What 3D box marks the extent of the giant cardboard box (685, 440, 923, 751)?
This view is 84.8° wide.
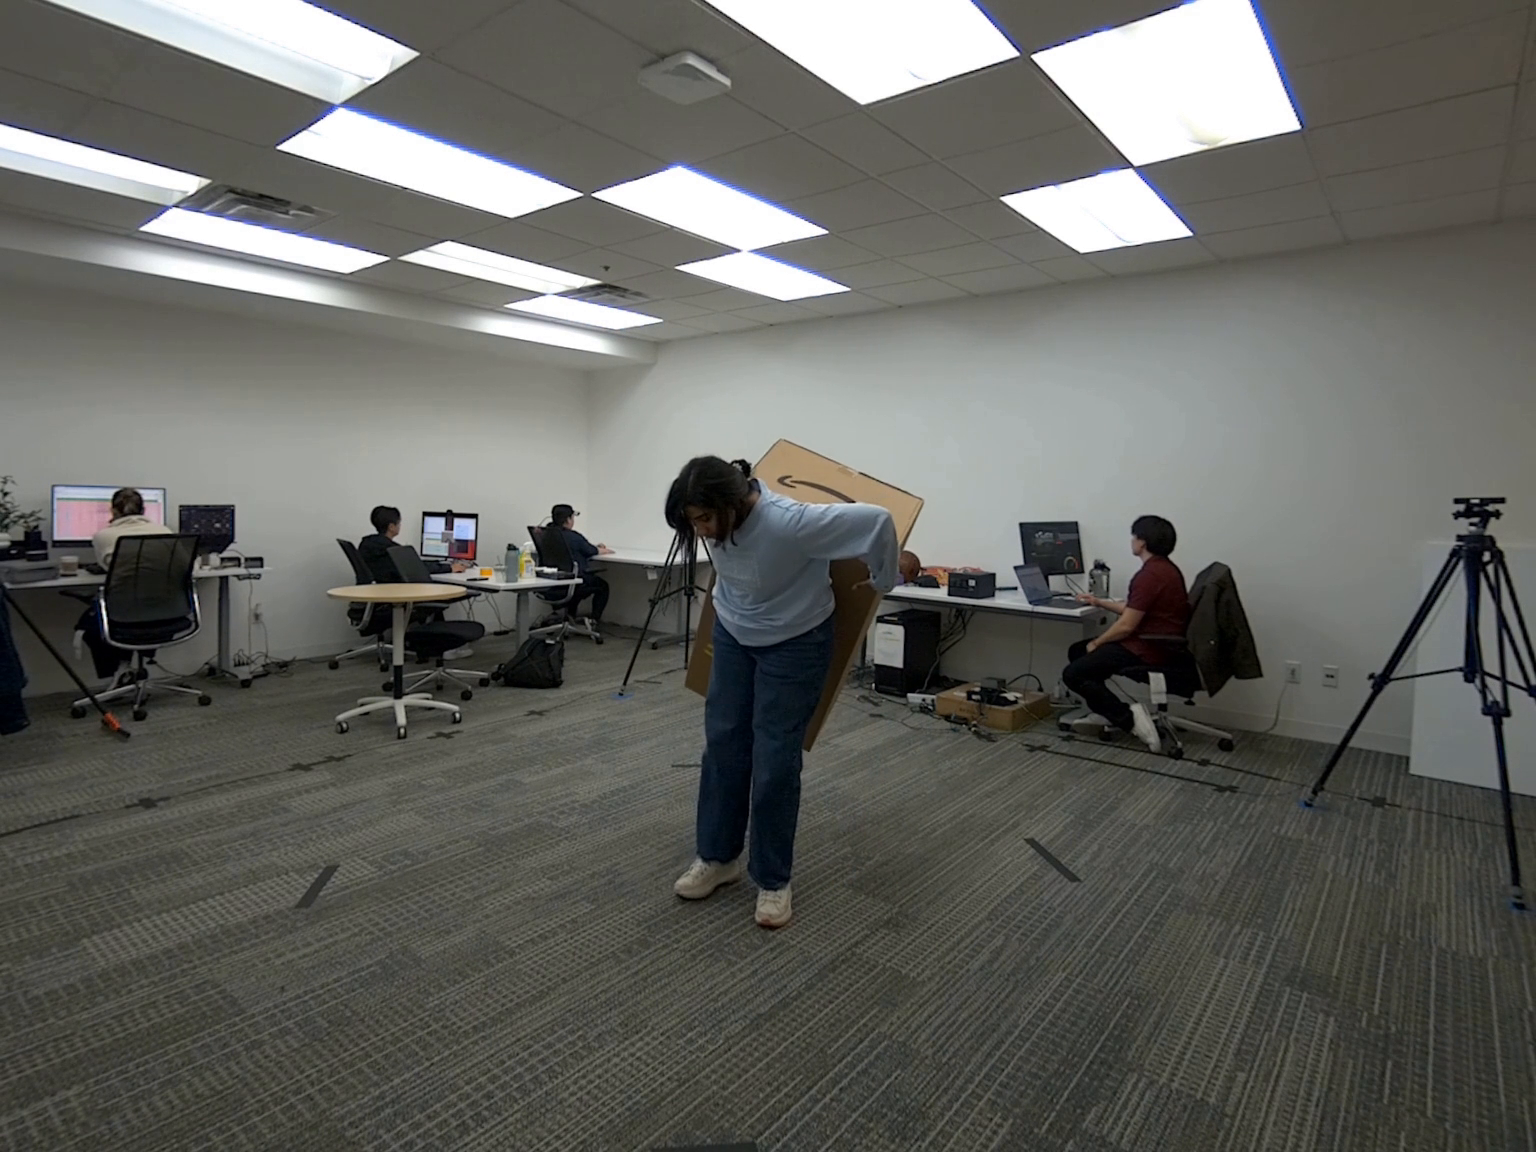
[{"bbox_3d":[0.089,0.098,3.236,0.588,1.006,0.427,26,41,12],"label":"giant cardboard box"}]
